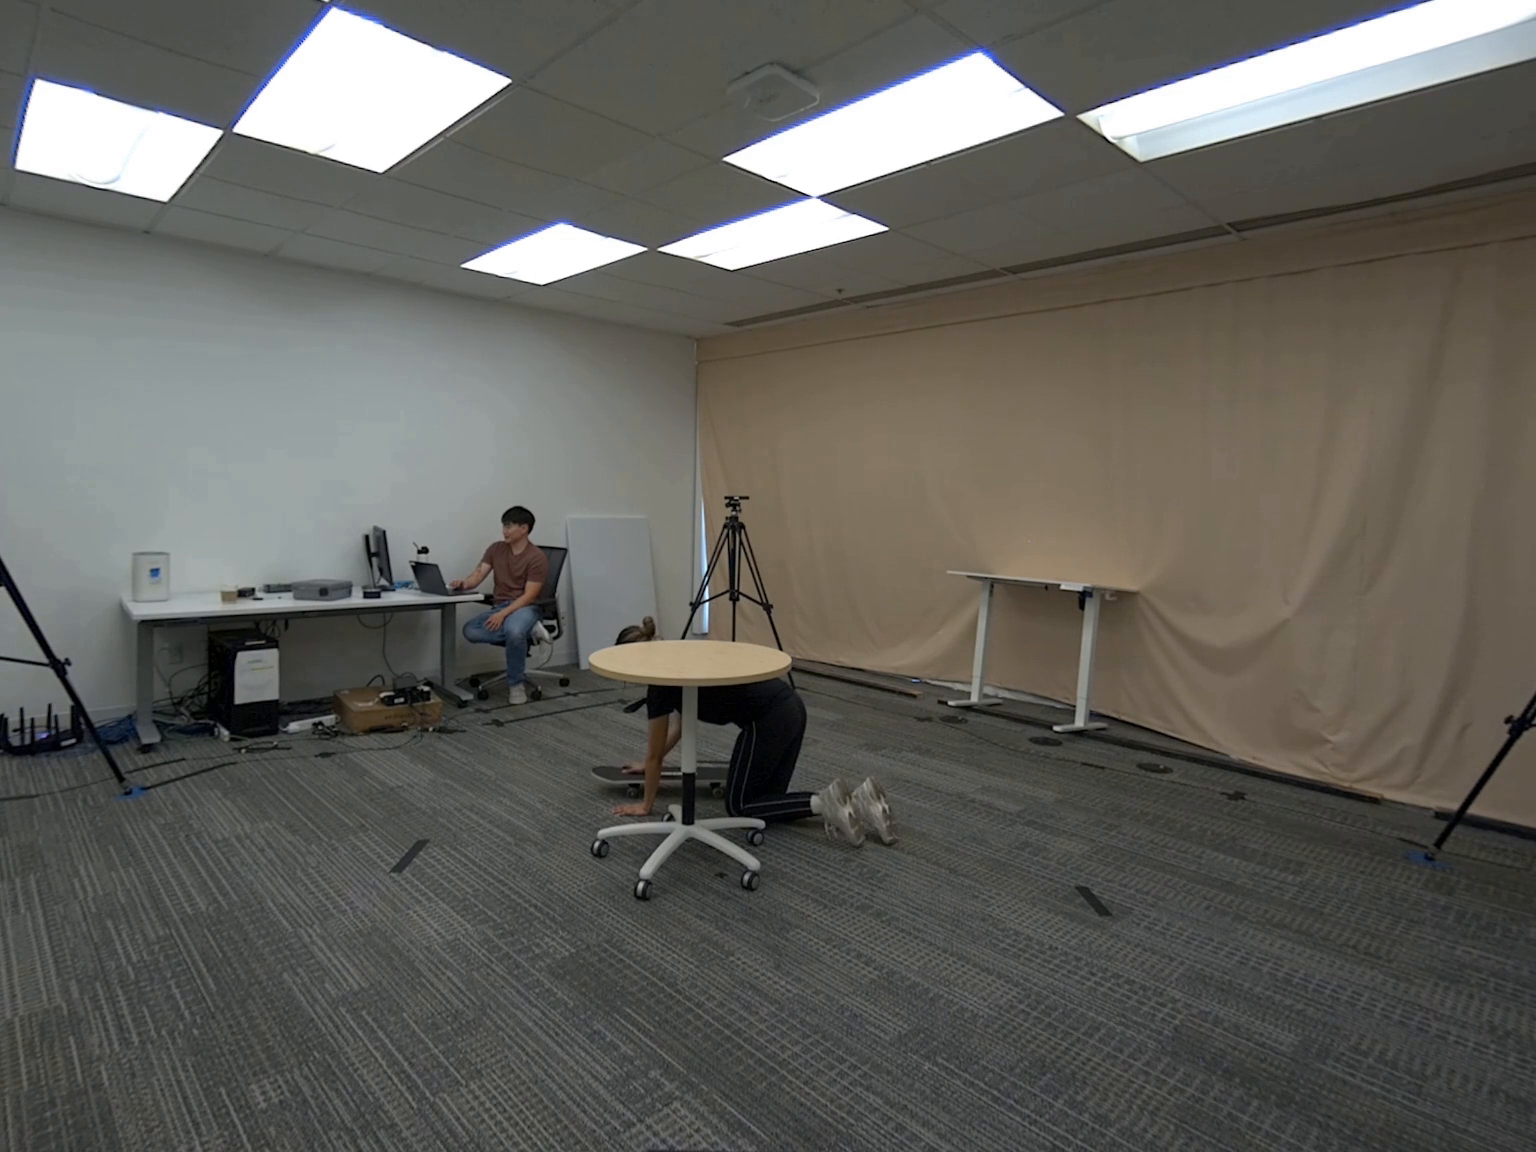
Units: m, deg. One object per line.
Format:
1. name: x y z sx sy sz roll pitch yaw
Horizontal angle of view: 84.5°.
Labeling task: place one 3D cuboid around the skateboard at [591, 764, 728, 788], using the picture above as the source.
1. skateboard: -0.447 0.962 3.972 0.782 0.110 0.195 2 6 -5
